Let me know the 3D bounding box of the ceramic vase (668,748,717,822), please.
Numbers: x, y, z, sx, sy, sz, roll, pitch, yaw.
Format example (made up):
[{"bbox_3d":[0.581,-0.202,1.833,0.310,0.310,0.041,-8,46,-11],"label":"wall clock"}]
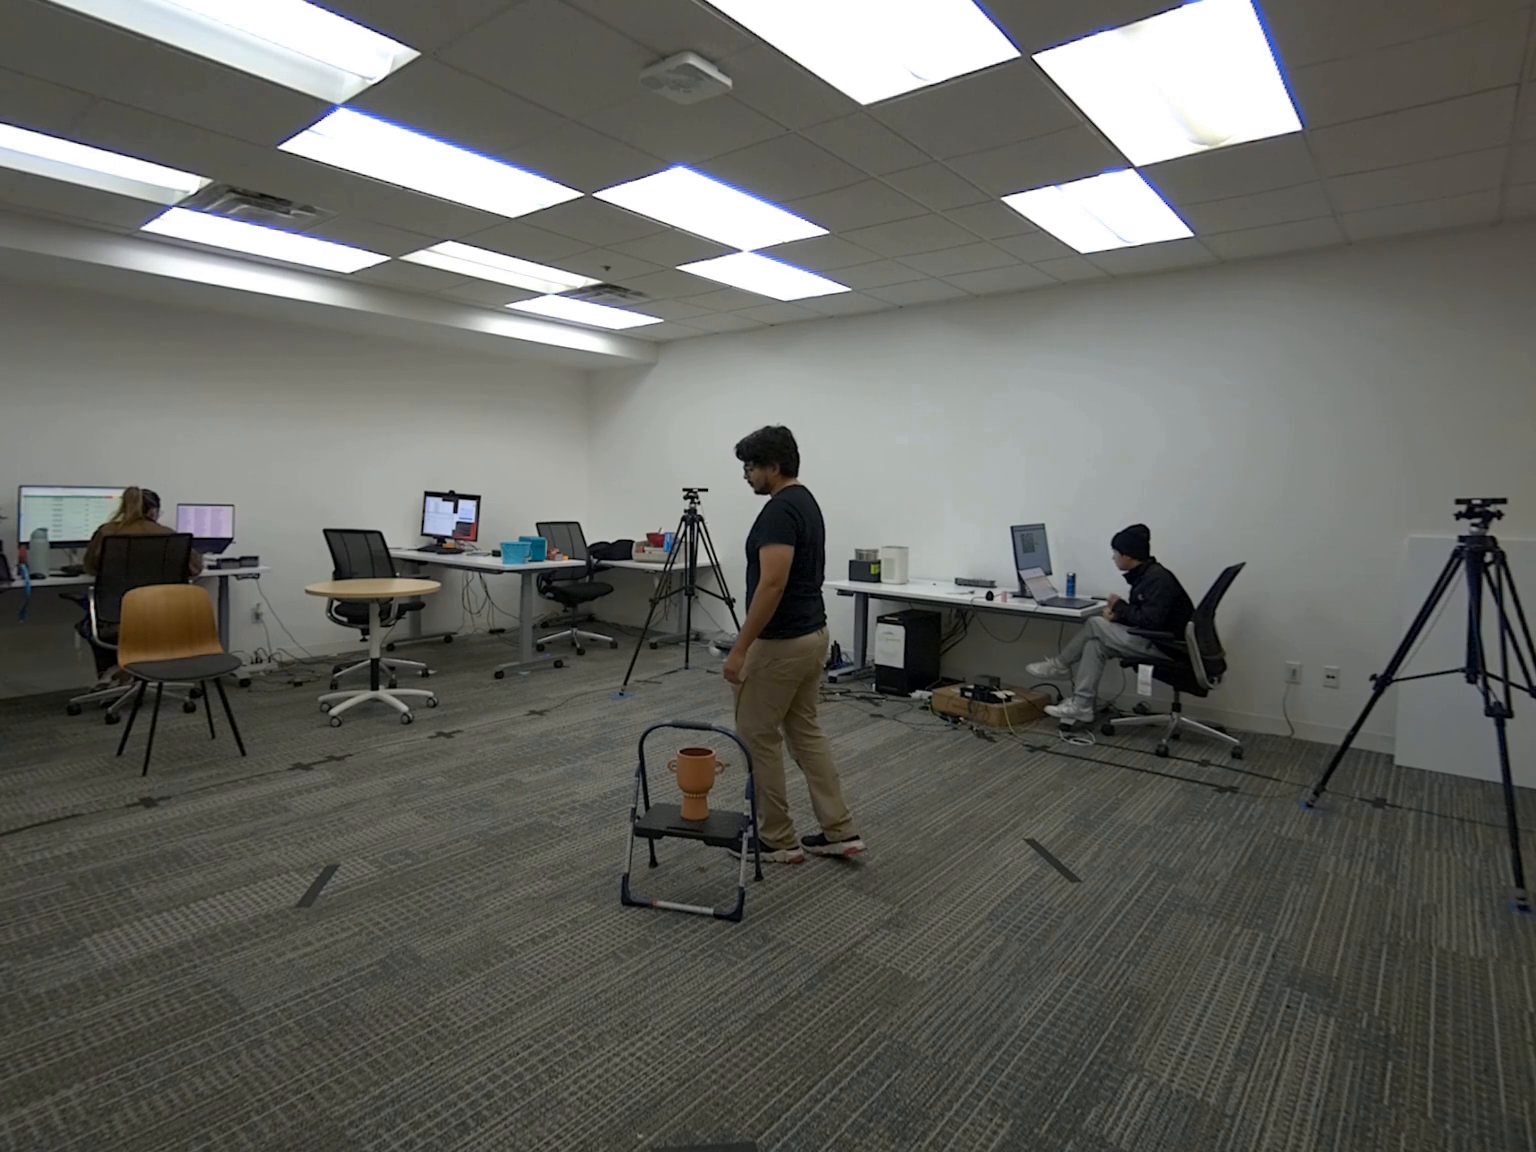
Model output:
[{"bbox_3d":[-0.257,0.715,2.937,0.164,0.219,0.130,3,3,37],"label":"ceramic vase"}]
